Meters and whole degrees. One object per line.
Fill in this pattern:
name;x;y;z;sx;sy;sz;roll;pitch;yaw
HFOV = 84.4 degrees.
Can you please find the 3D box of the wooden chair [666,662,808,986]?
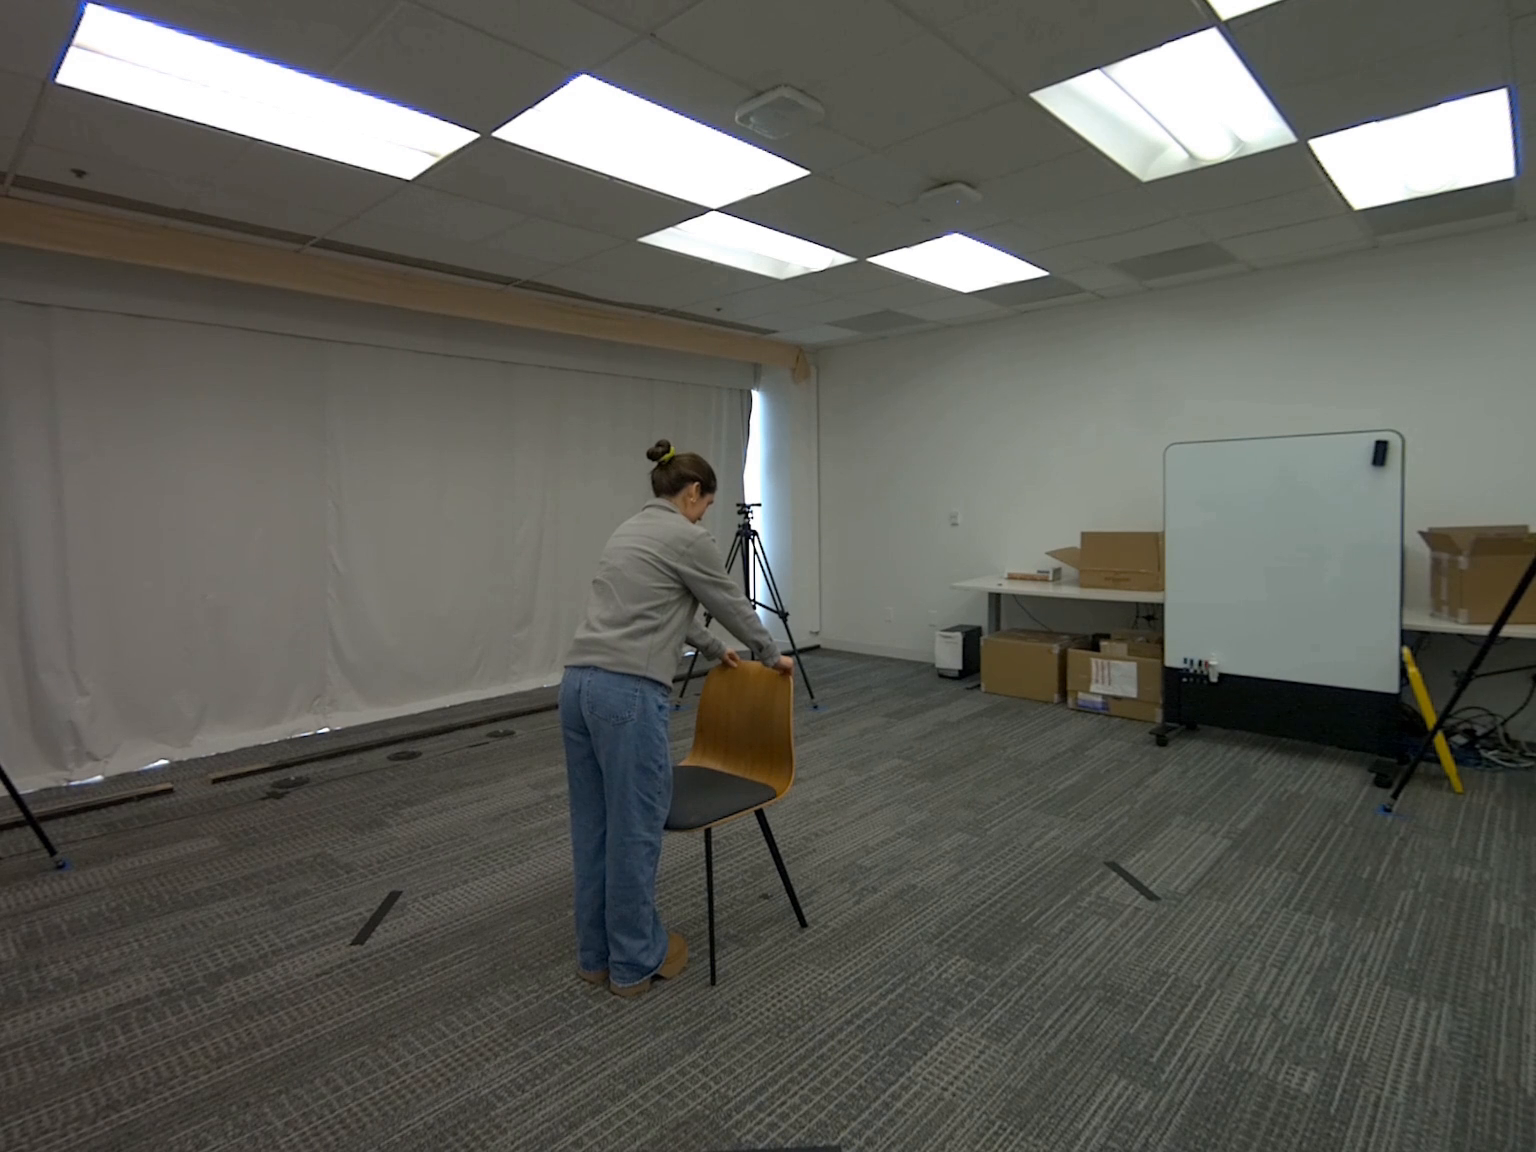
wooden chair;-0.192;0.737;2.719;0.494;0.877;0.506;2;0;41
